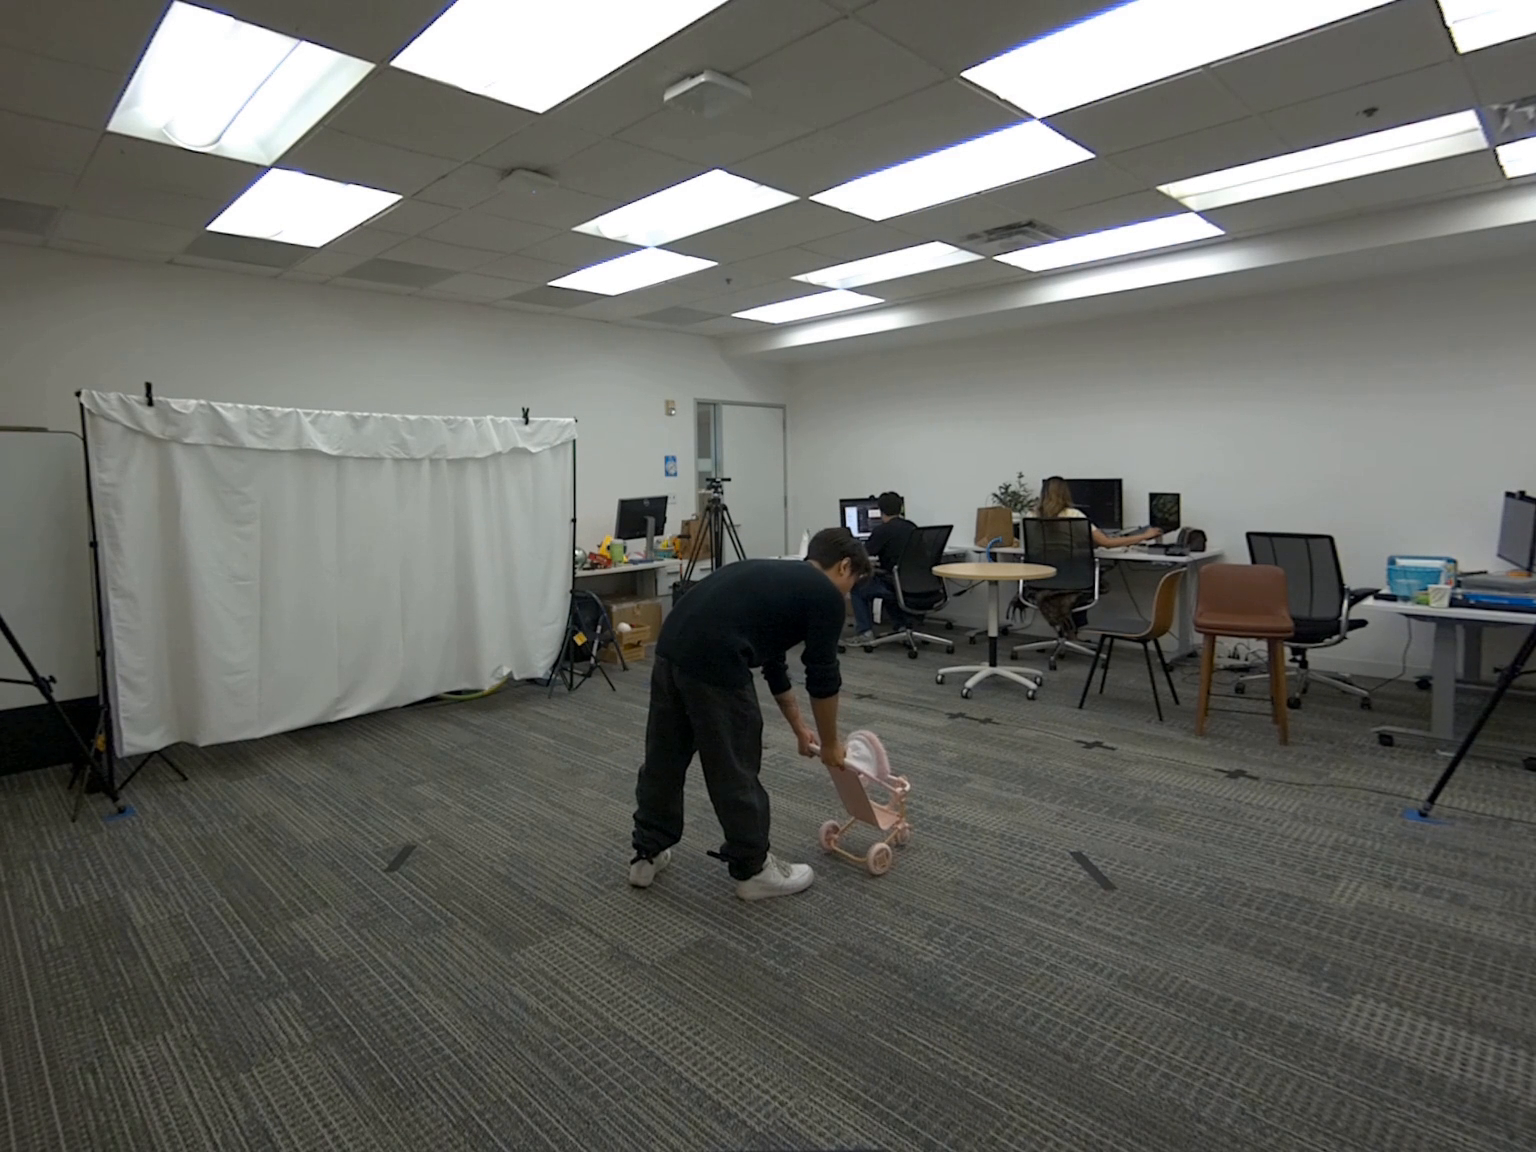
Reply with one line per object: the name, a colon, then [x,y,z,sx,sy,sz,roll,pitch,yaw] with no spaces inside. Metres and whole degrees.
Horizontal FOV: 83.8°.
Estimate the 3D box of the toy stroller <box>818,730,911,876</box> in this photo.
toy stroller: [0.360,0.797,3.110,0.336,0.528,0.289,-20,14,-31]
